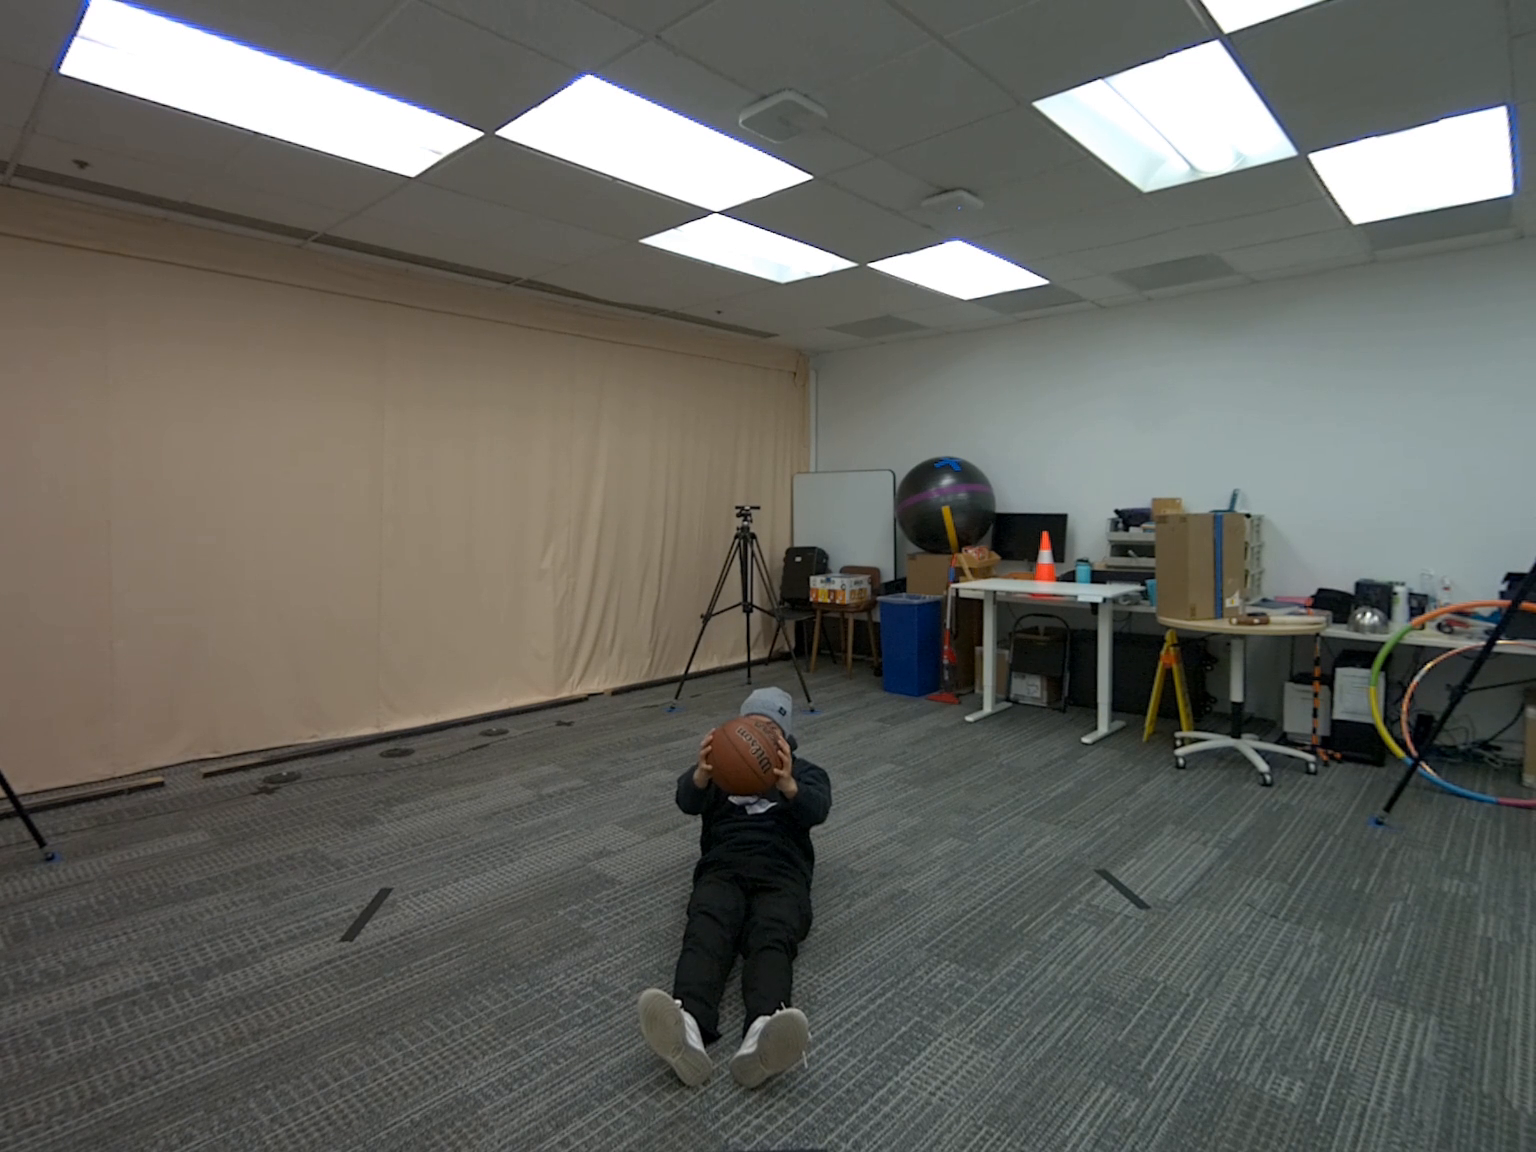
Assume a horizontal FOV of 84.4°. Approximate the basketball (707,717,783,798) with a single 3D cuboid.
[{"bbox_3d":[-0.069,0.554,2.598,0.236,0.235,0.237,0,4,-2],"label":"basketball"}]
